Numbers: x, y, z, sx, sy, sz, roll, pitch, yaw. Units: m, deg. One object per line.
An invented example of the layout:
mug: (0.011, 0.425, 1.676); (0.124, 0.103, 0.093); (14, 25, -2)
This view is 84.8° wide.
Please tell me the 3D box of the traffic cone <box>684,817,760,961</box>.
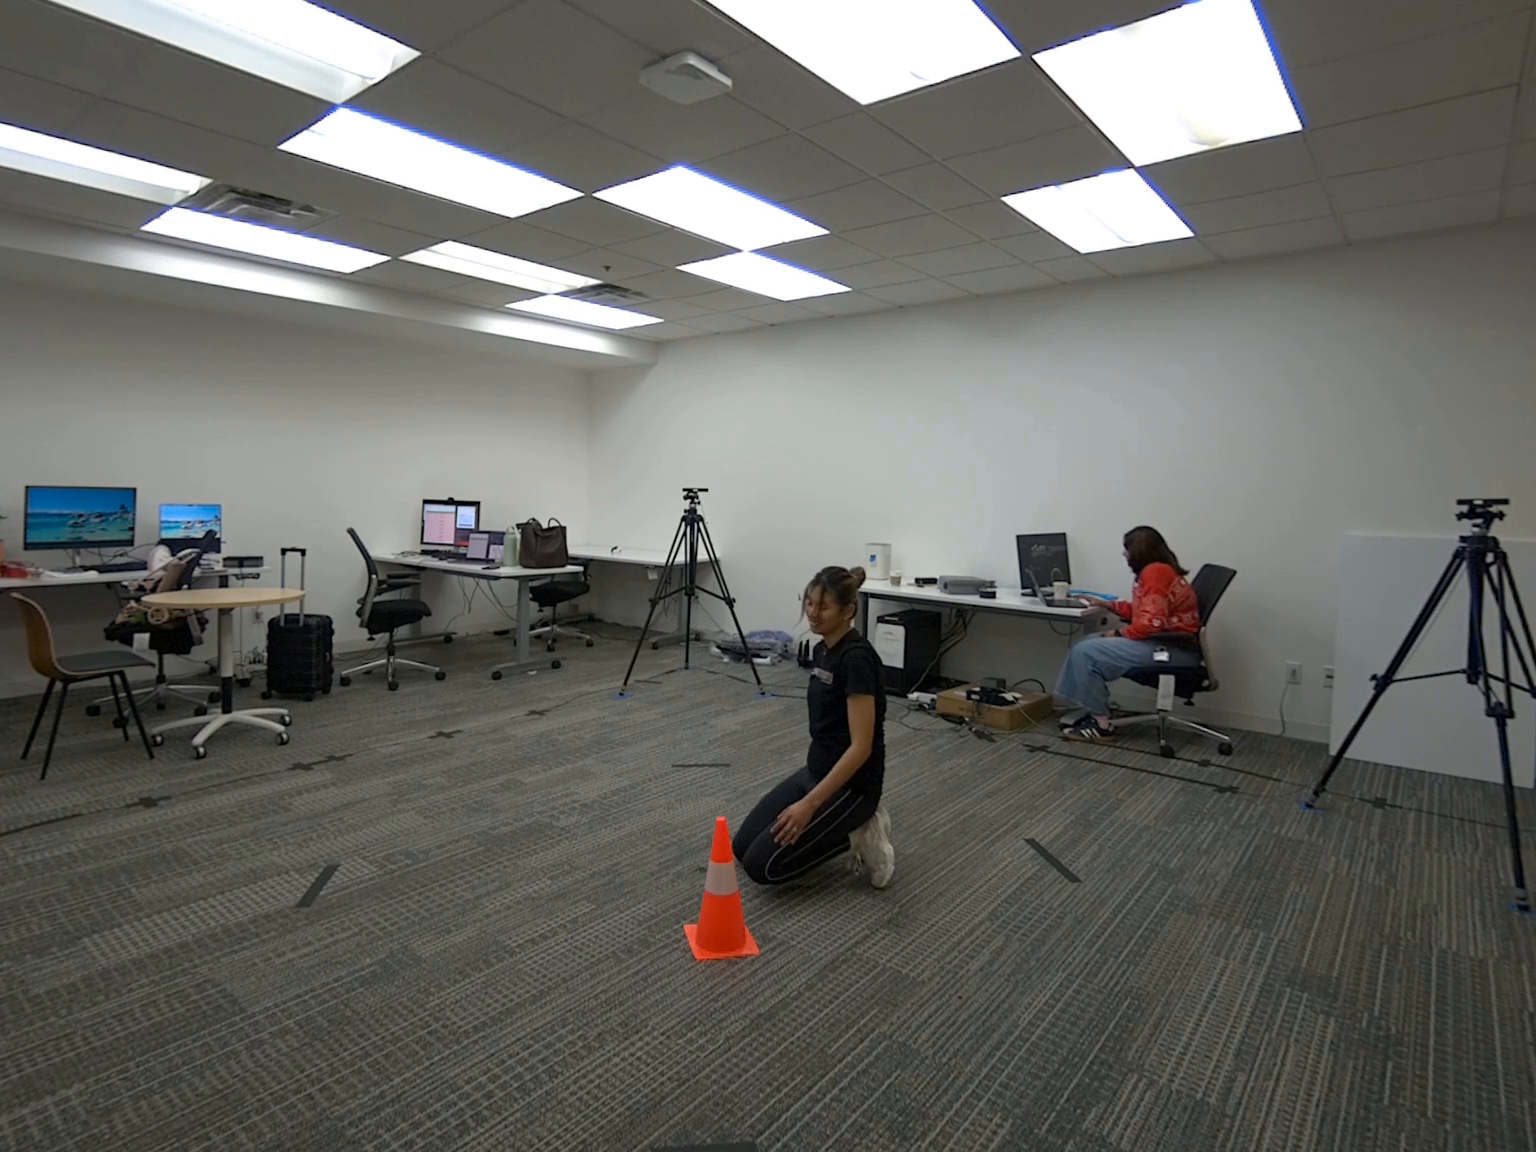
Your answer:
traffic cone: (-0.146, 0.934, 2.602); (0.202, 0.382, 0.207); (1, 6, -14)
